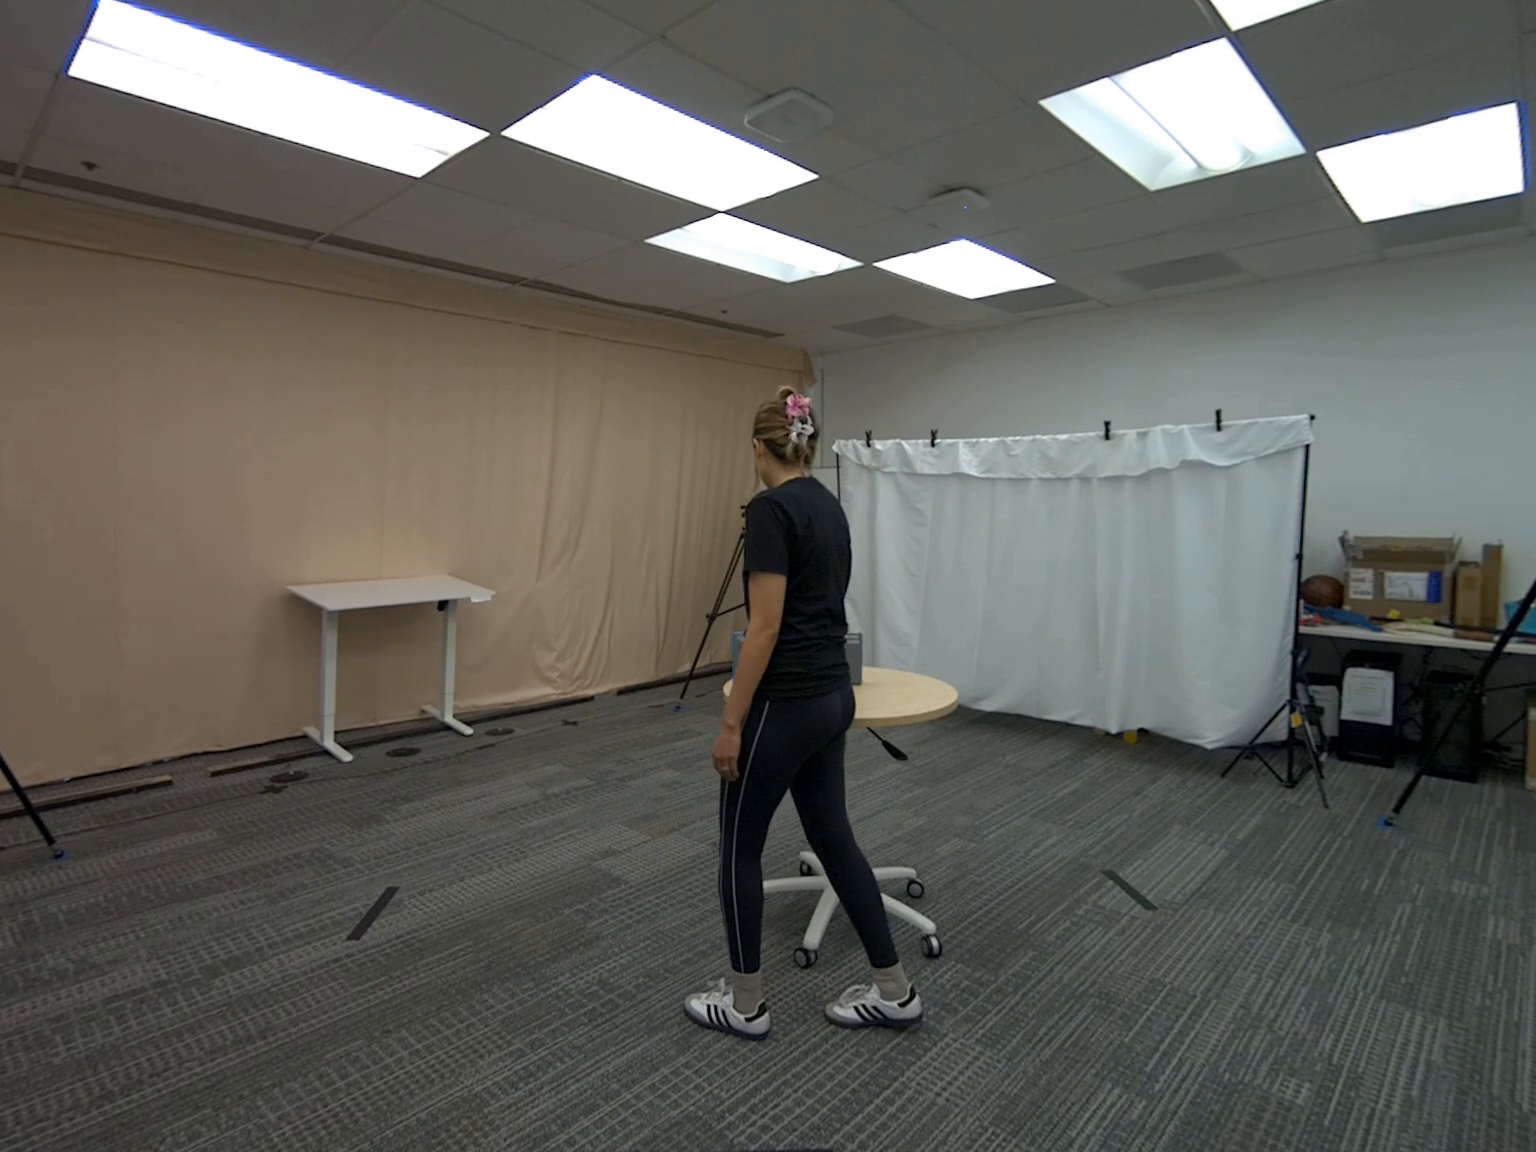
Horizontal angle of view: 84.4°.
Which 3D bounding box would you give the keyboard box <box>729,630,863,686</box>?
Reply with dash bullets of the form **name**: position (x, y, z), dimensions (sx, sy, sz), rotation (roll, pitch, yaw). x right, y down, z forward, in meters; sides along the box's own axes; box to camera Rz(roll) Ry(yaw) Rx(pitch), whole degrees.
- **keyboard box**: position (0.105, 0.280, 2.881), dimensions (0.437, 0.176, 0.059), rotation (0, 1, 2)
